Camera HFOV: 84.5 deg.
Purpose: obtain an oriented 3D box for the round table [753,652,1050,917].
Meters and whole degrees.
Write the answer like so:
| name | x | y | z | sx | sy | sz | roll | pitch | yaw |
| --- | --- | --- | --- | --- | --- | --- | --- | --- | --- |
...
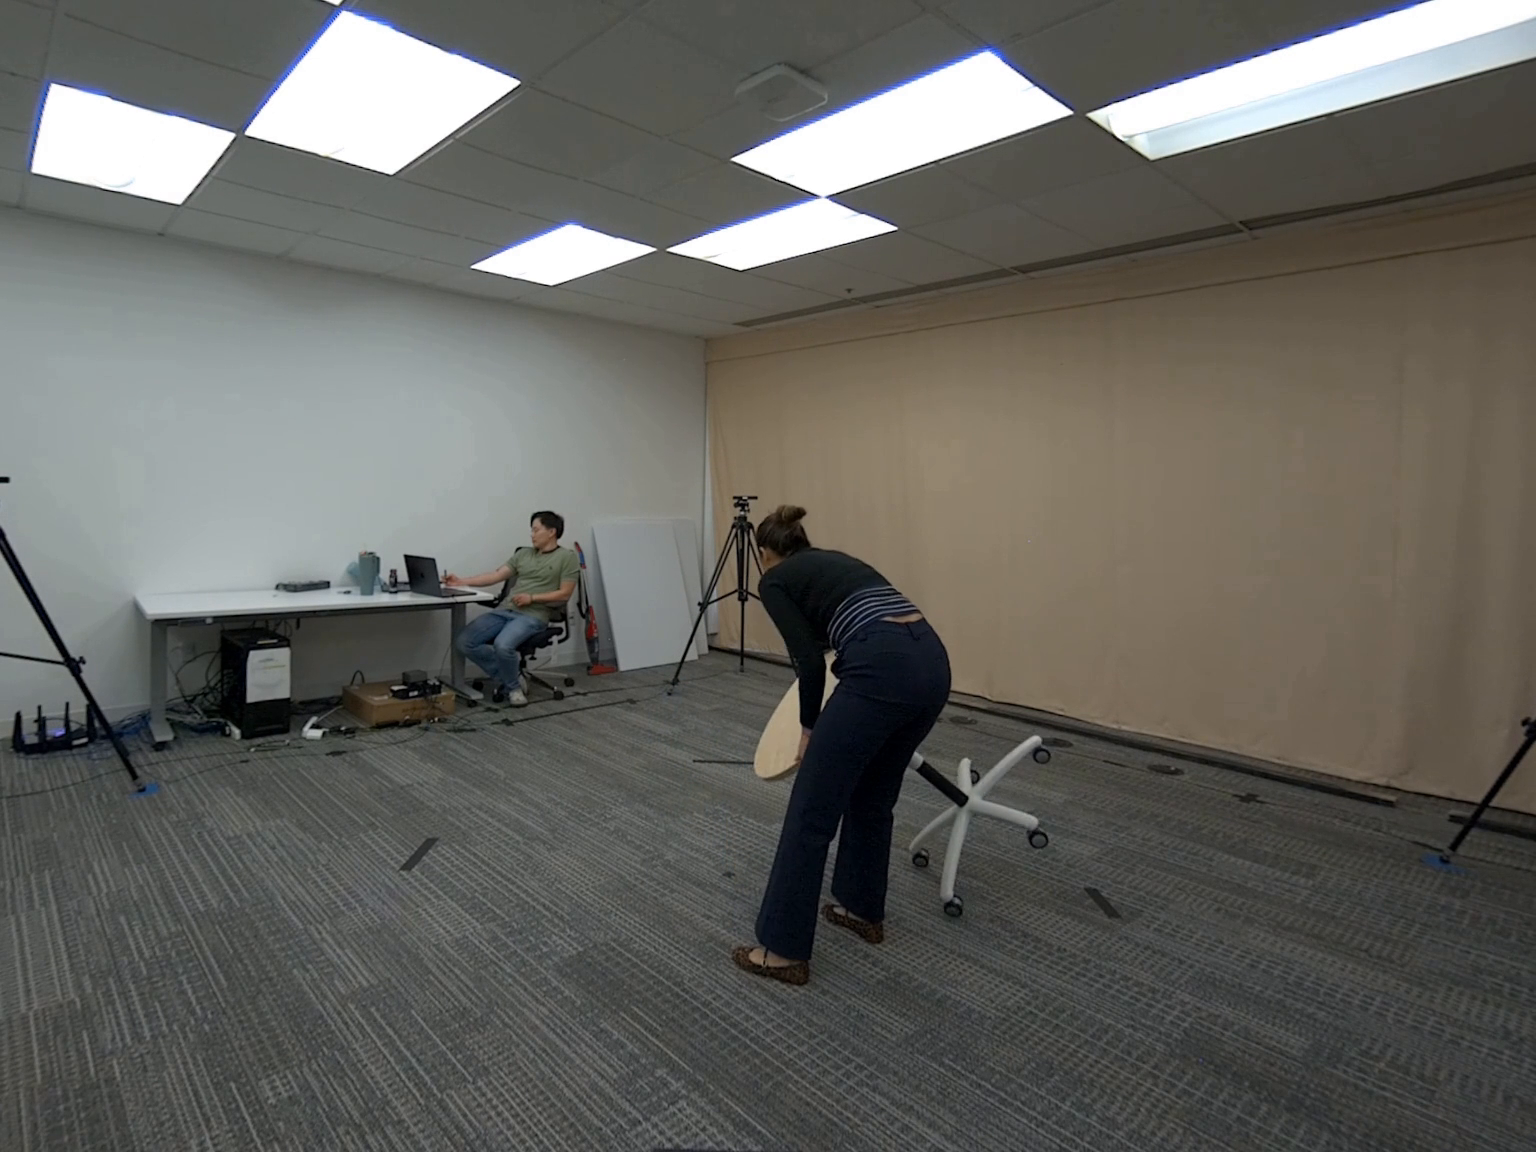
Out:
| name | x | y | z | sx | sy | sz | roll | pitch | yaw |
| --- | --- | --- | --- | --- | --- | --- | --- | --- | --- |
| round table | 0.494 | 0.659 | 2.989 | 0.789 | 0.764 | 0.768 | 41 | 0 | -6 |
